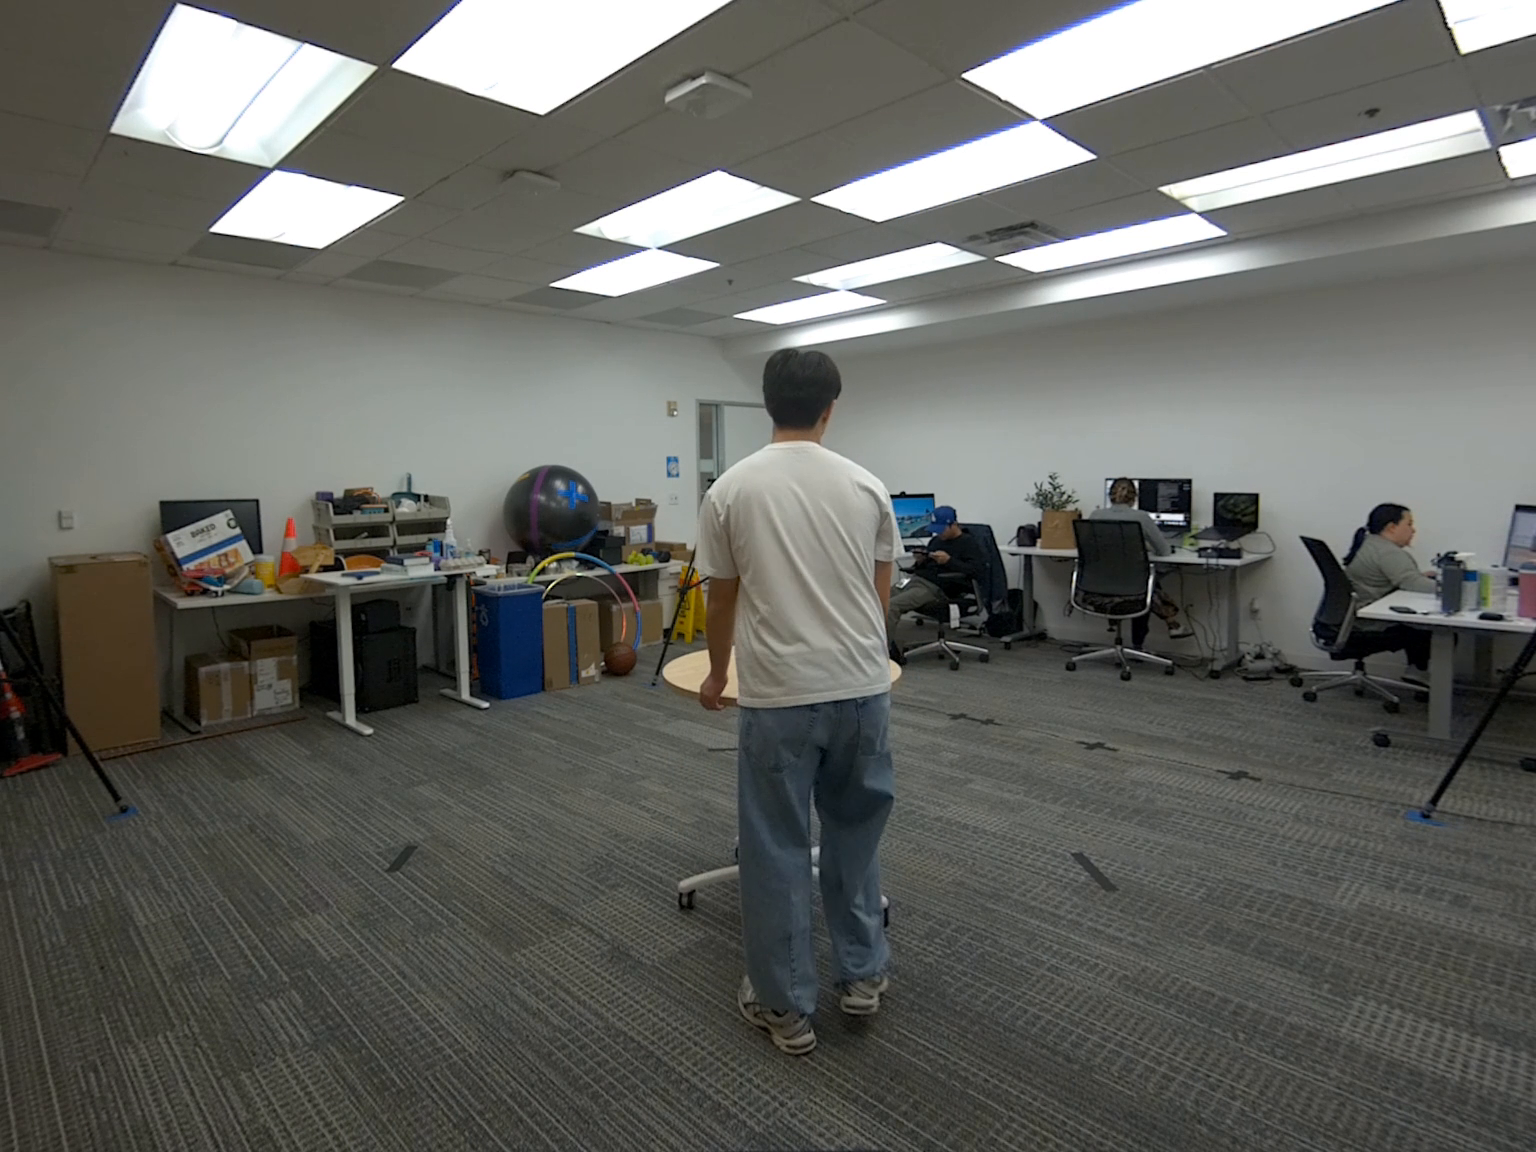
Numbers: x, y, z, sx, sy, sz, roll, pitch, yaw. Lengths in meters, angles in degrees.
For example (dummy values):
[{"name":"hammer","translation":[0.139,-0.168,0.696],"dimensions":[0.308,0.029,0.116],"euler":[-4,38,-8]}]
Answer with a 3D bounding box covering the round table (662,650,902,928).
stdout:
[{"name":"round table","translation":[0.056,0.693,2.797],"dimensions":[0.763,0.790,0.769],"euler":[-1,6,-2]}]
